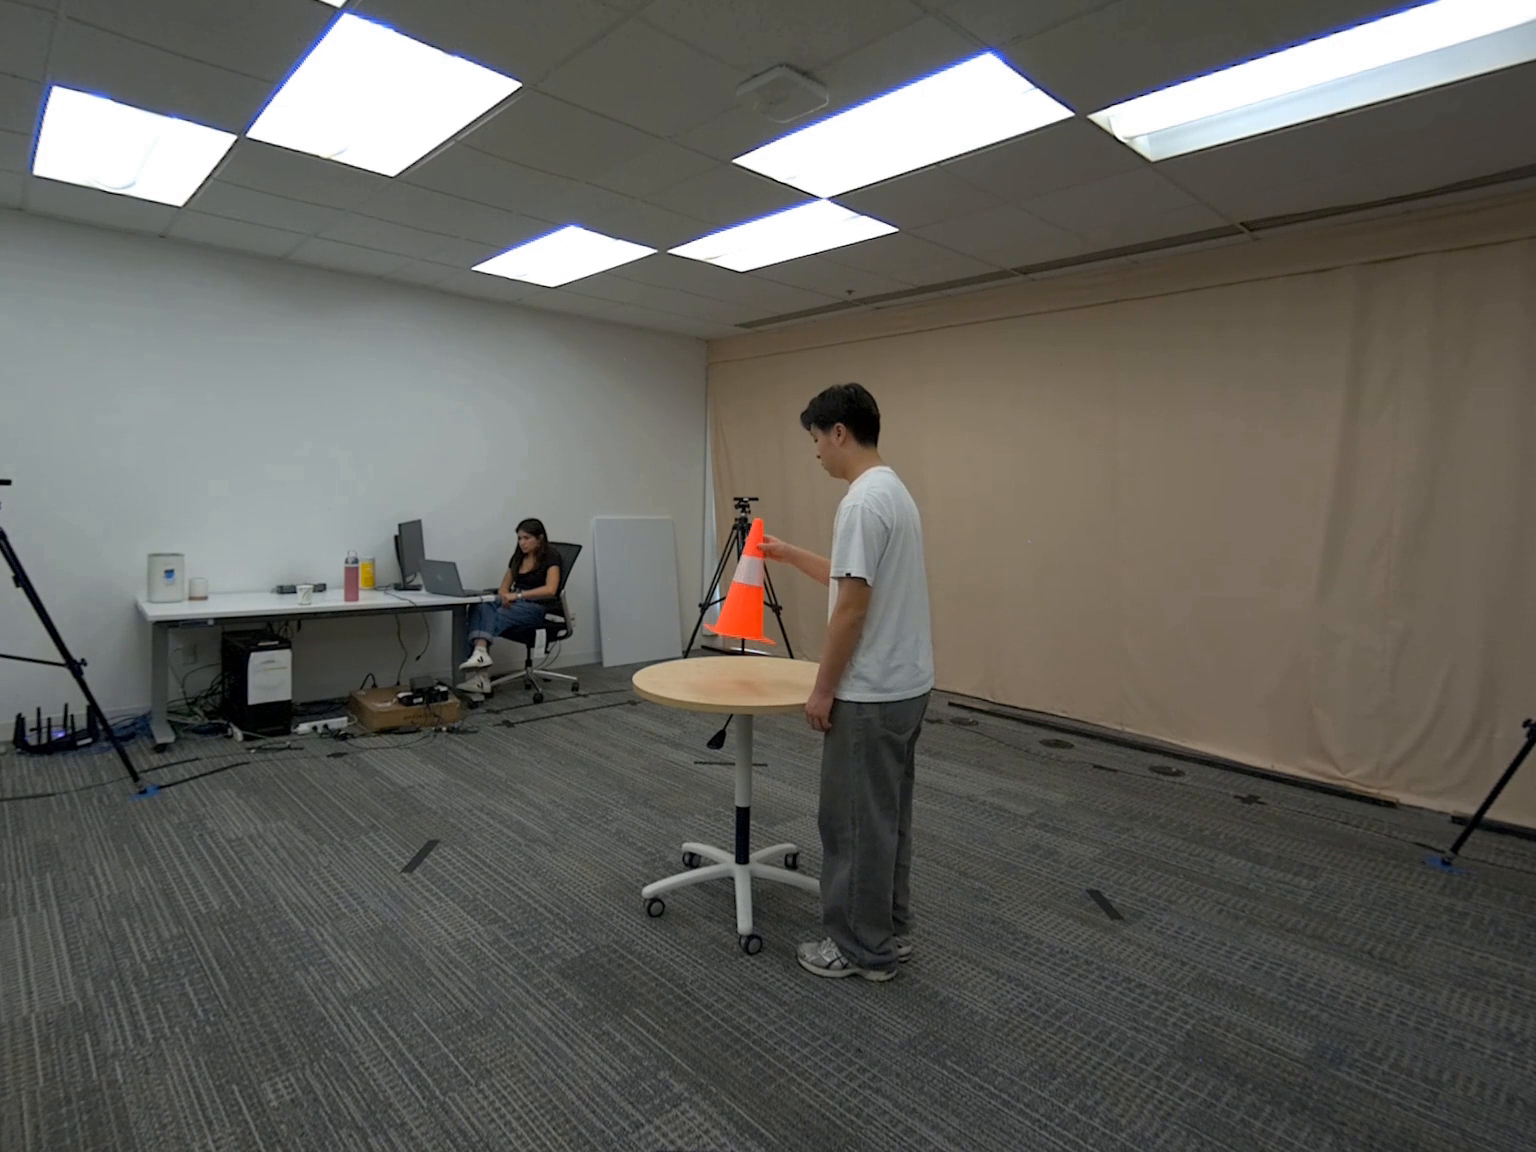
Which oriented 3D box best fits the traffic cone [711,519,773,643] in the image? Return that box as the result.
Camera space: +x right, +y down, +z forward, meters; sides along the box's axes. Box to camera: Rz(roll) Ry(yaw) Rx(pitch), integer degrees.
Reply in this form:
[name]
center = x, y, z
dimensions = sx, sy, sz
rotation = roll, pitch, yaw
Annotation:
[traffic cone]
center = -0.065, 0.015, 2.751
dimensions = 0.203, 0.383, 0.205
rotation = 9, 2, 0
